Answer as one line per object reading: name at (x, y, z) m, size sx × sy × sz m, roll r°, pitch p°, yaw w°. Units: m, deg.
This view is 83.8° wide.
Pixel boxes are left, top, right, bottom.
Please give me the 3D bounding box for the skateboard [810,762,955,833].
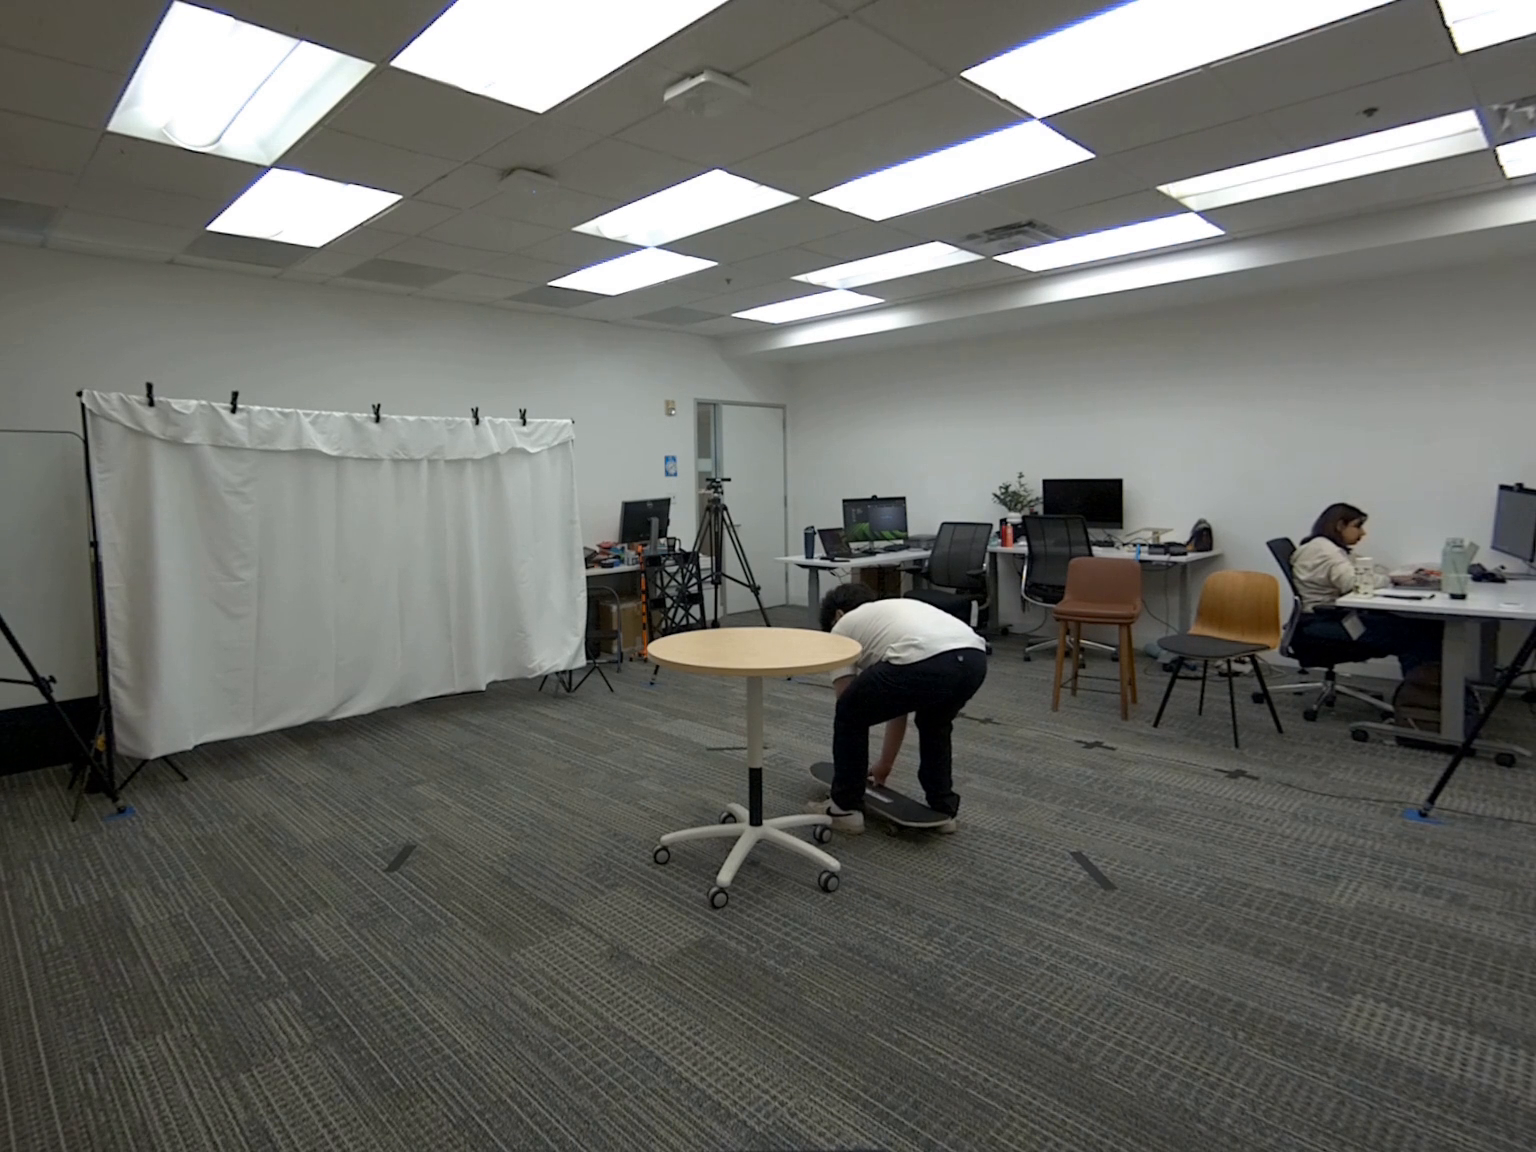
skateboard at (0.439, 0.934, 3.527) m, size 0.189 × 0.110 × 0.807 m, roll -5°, pitch 7°, yaw -30°
